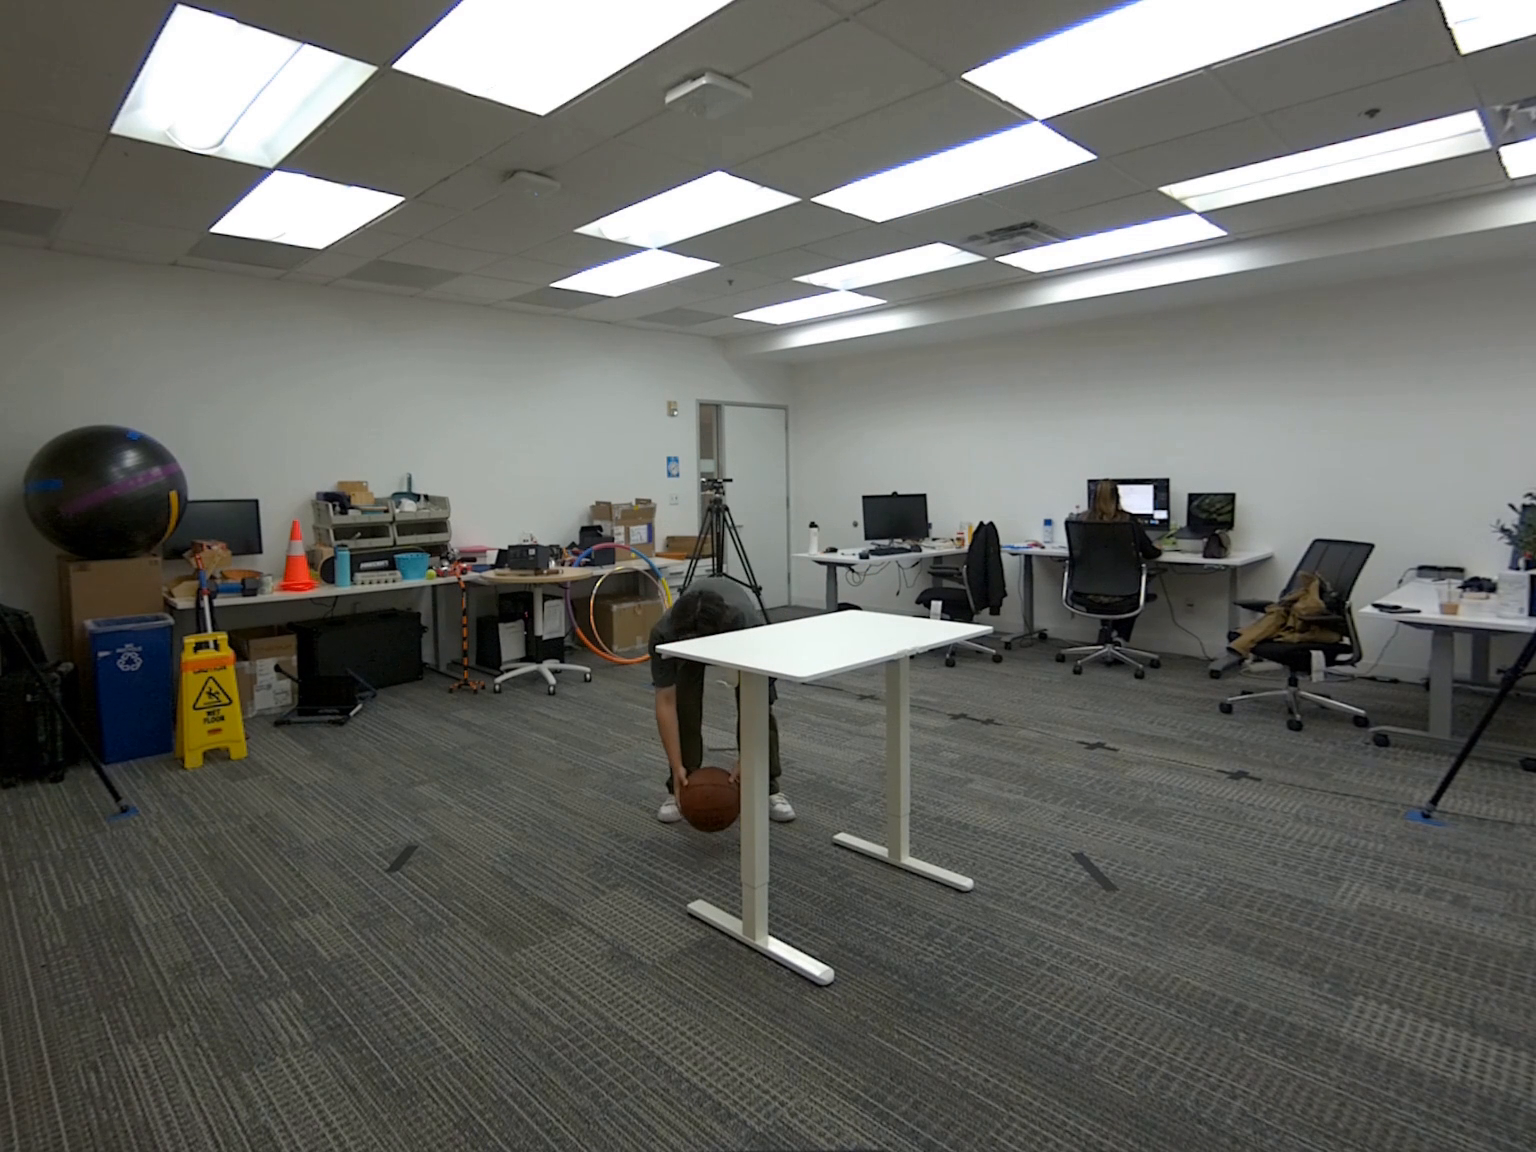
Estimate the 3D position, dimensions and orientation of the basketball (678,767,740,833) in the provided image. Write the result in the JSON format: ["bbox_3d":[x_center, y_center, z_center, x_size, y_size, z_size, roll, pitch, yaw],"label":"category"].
[{"bbox_3d":[-0.217,0.831,3.236,0.236,0.235,0.237,-1,5,-2],"label":"basketball"}]
